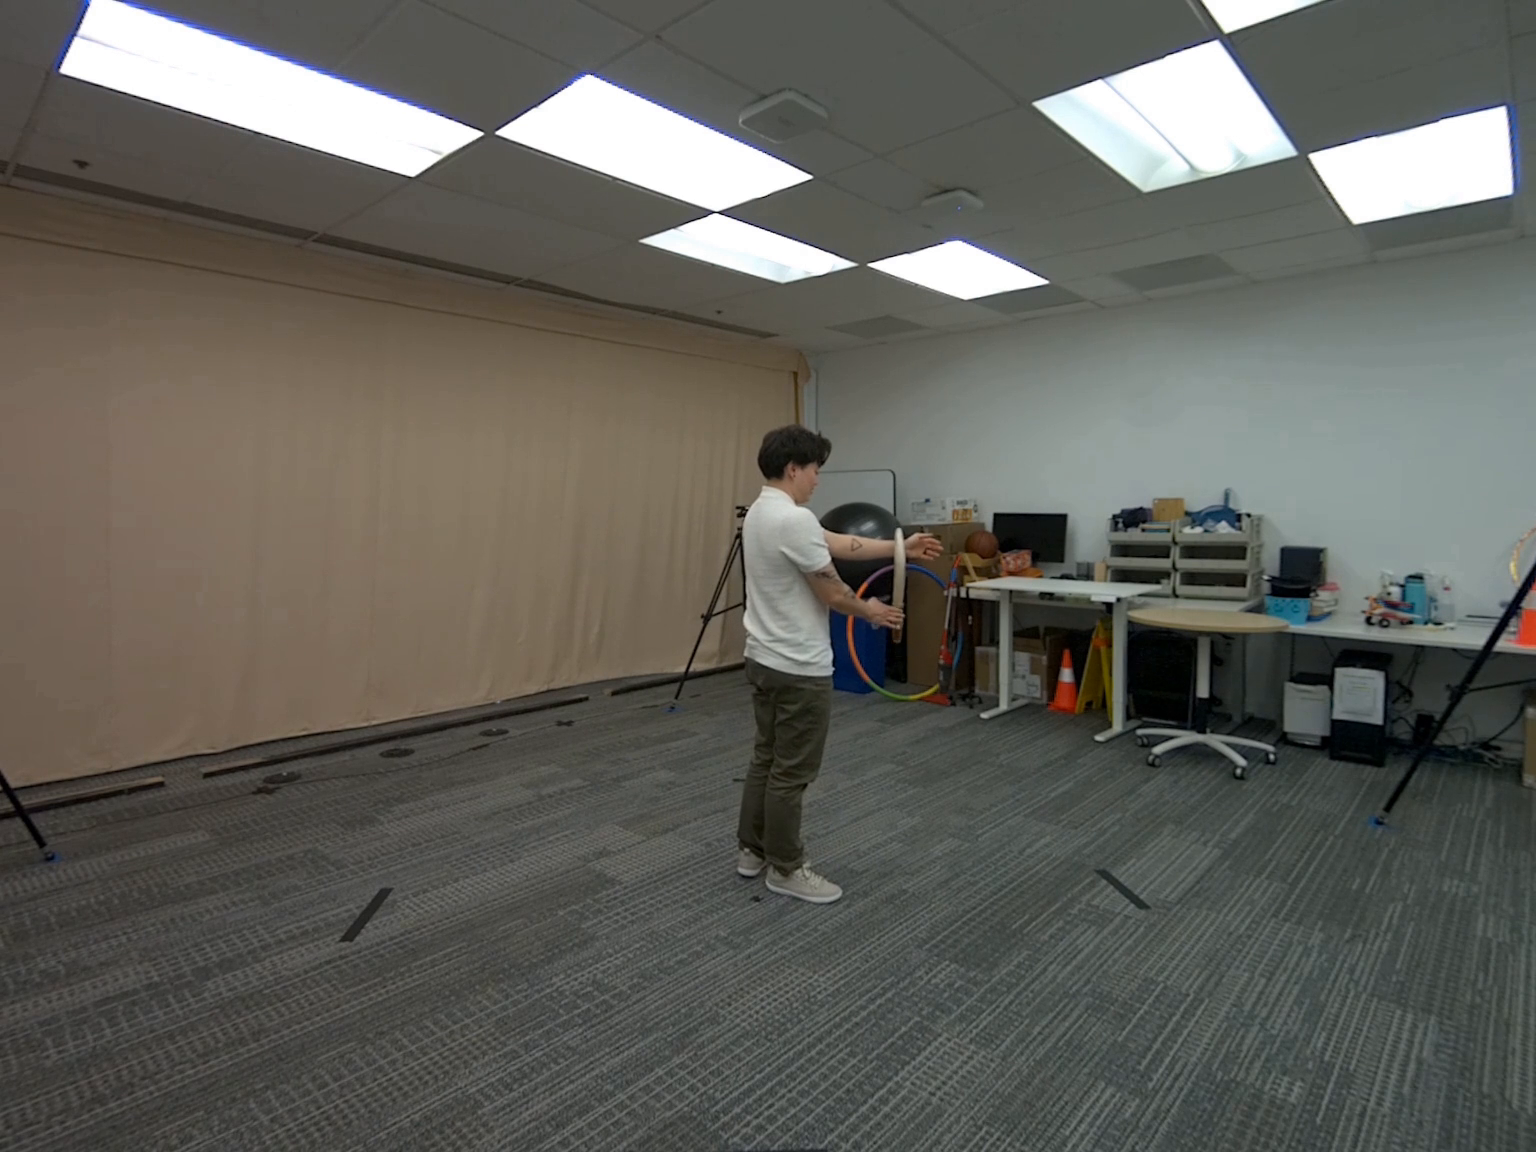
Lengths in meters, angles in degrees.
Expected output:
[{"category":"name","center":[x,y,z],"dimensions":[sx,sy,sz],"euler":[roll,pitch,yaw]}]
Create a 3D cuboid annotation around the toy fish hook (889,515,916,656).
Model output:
[{"category":"toy fish hook","center":[0.509,0.039,3.218],"dimensions":[0.049,0.496,0.226],"euler":[6,41,12]}]
